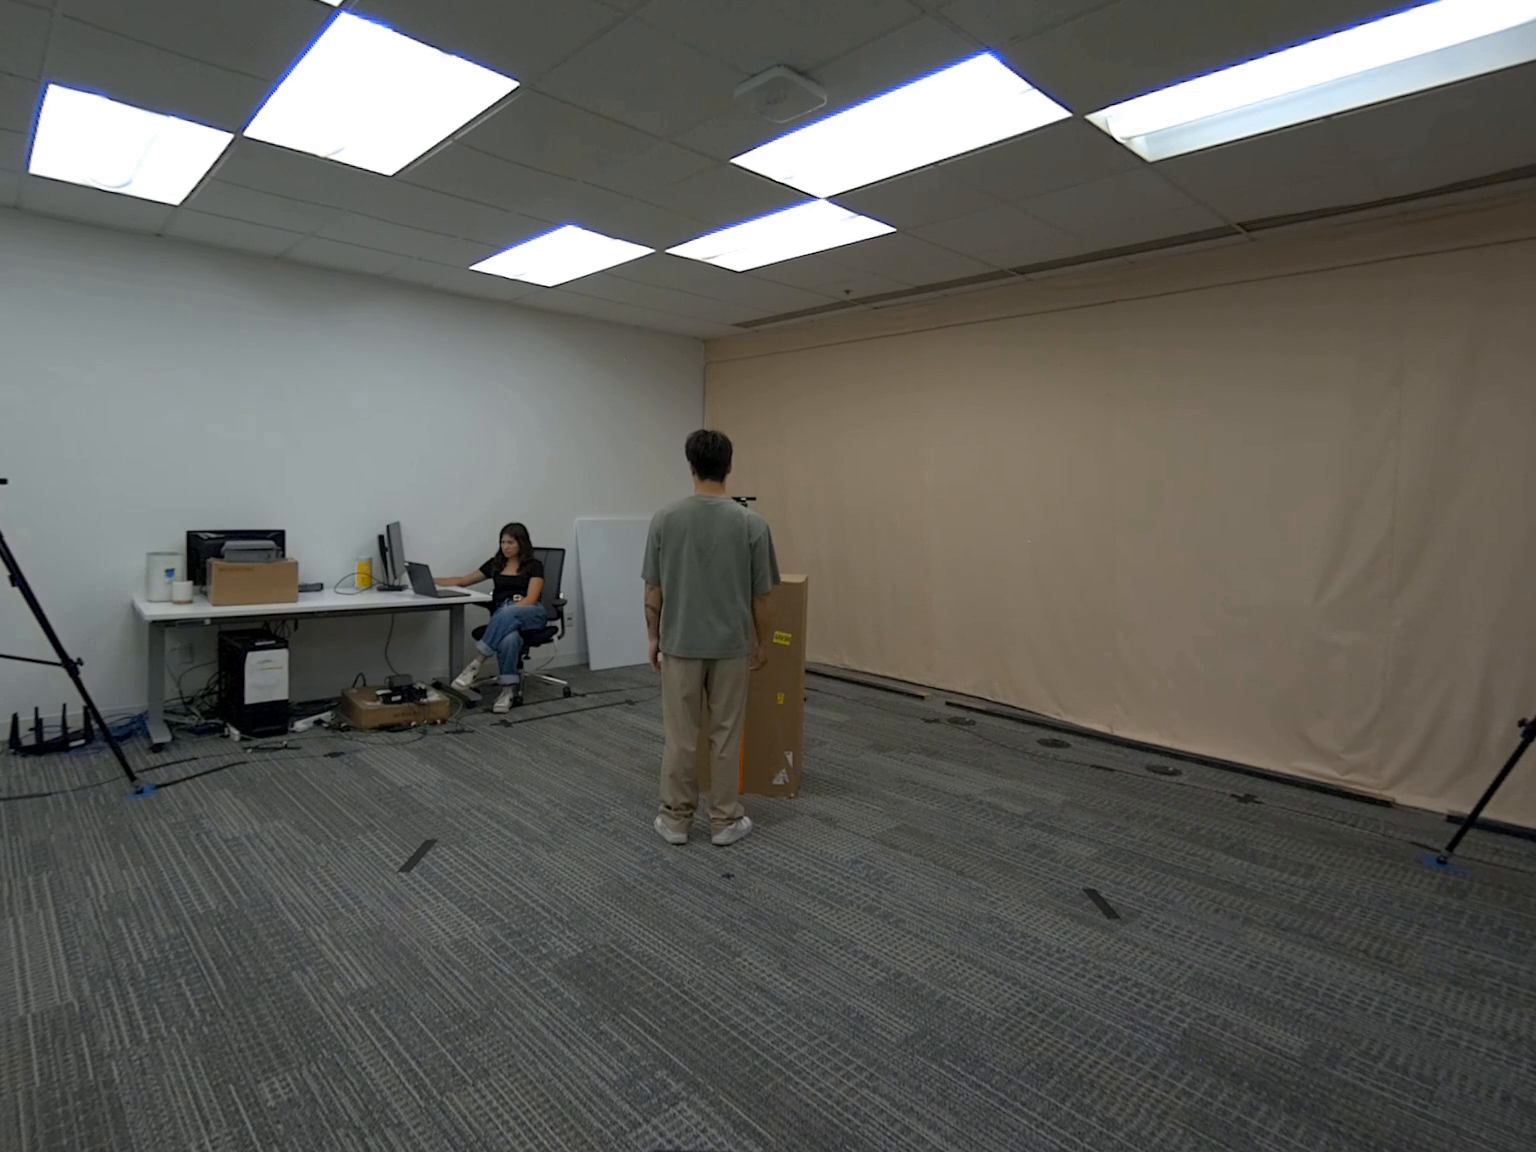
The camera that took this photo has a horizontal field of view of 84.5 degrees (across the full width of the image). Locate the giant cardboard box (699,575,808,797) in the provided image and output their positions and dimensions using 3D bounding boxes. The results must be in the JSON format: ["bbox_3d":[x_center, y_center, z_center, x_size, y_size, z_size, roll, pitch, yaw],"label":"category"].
[{"bbox_3d":[-0.126,0.513,4.175,0.581,1.024,0.424,2,2,6],"label":"giant cardboard box"}]
